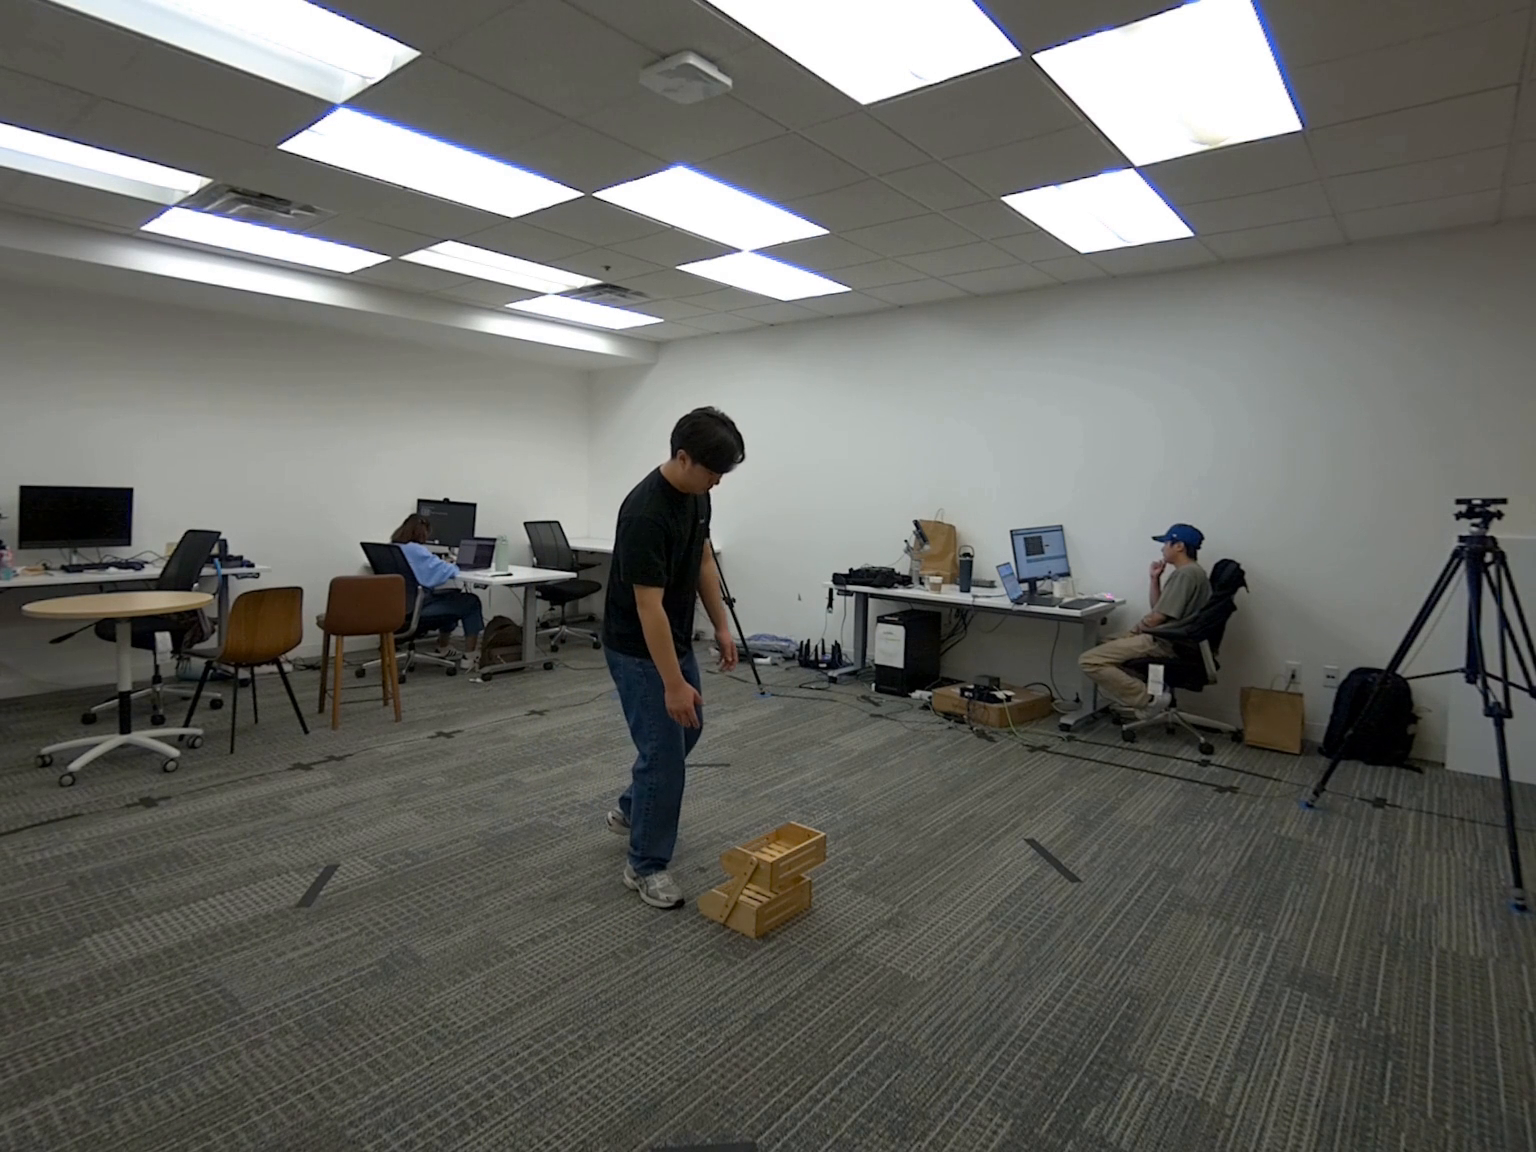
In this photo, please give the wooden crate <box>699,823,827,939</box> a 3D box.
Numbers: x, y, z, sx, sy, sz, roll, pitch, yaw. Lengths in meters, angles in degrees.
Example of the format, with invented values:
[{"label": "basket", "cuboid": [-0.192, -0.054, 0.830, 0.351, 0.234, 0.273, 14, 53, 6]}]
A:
[{"label": "wooden crate", "cuboid": [-0.029, 0.968, 2.803, 0.312, 0.272, 0.315, 5, 6, 39]}]
